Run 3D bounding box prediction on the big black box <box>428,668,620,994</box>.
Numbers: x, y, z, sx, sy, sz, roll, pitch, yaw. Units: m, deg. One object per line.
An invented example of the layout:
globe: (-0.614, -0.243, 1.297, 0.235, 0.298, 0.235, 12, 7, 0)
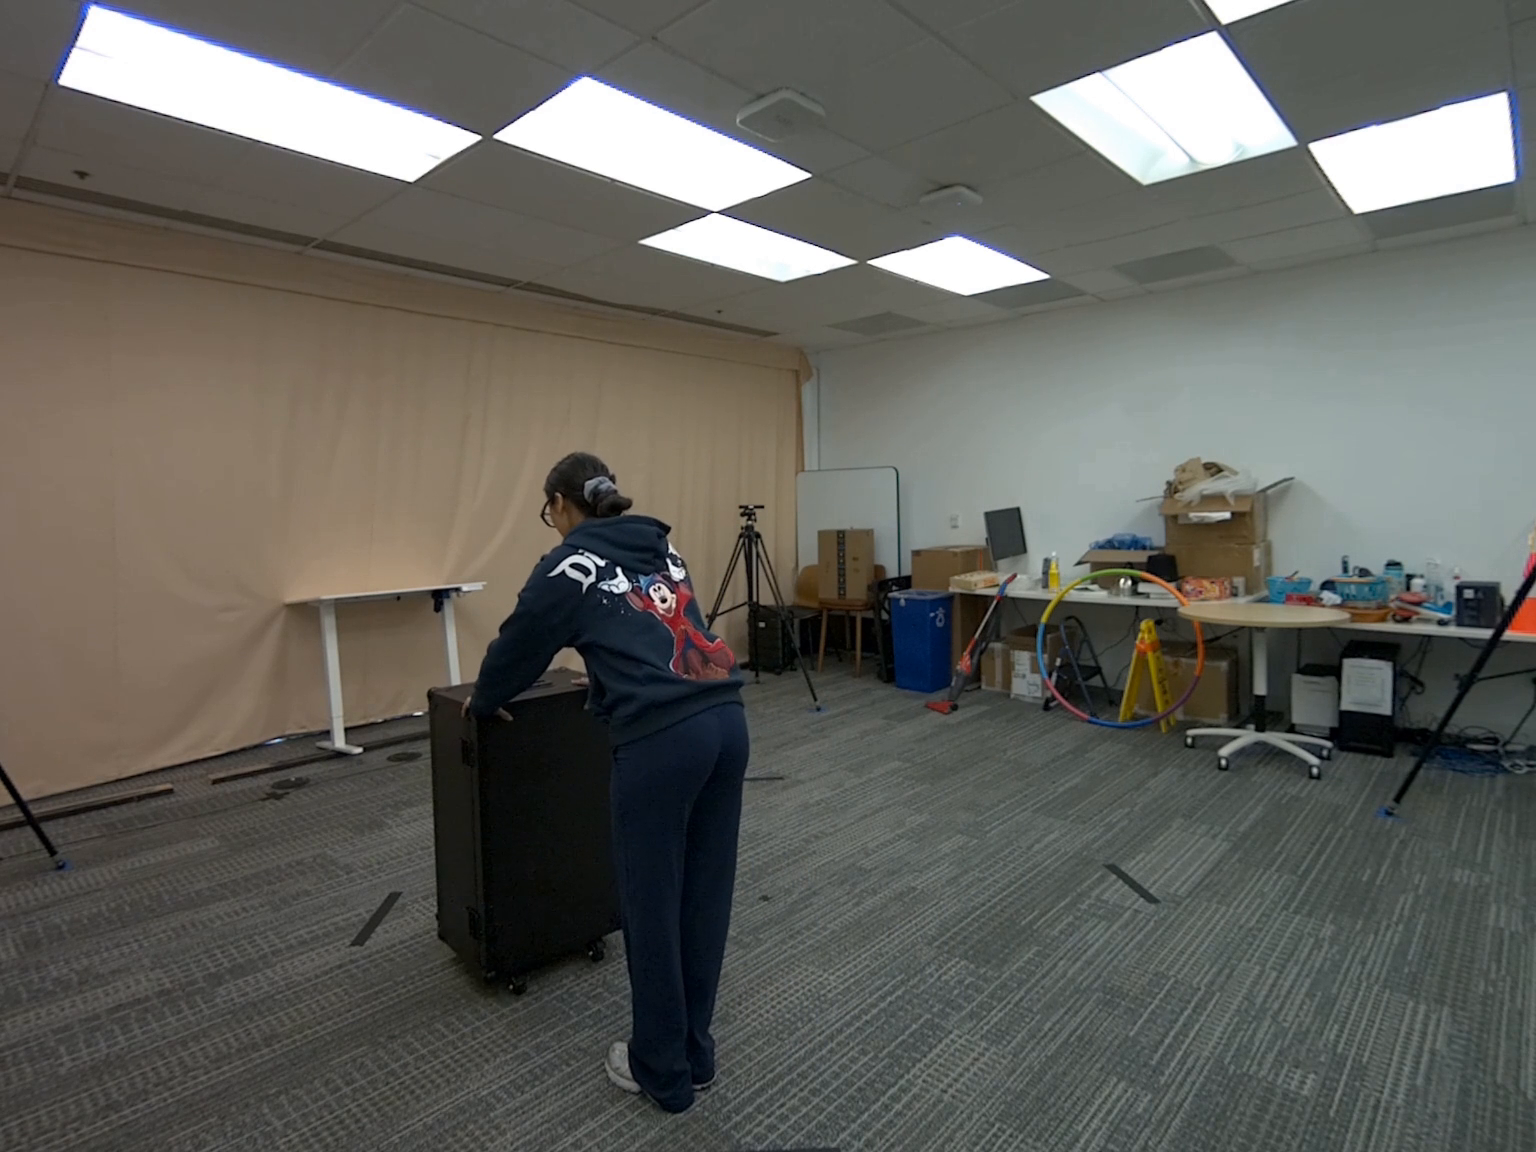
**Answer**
big black box: (-0.754, 0.765, 2.625, 0.505, 0.860, 0.409, -4, 3, -41)
